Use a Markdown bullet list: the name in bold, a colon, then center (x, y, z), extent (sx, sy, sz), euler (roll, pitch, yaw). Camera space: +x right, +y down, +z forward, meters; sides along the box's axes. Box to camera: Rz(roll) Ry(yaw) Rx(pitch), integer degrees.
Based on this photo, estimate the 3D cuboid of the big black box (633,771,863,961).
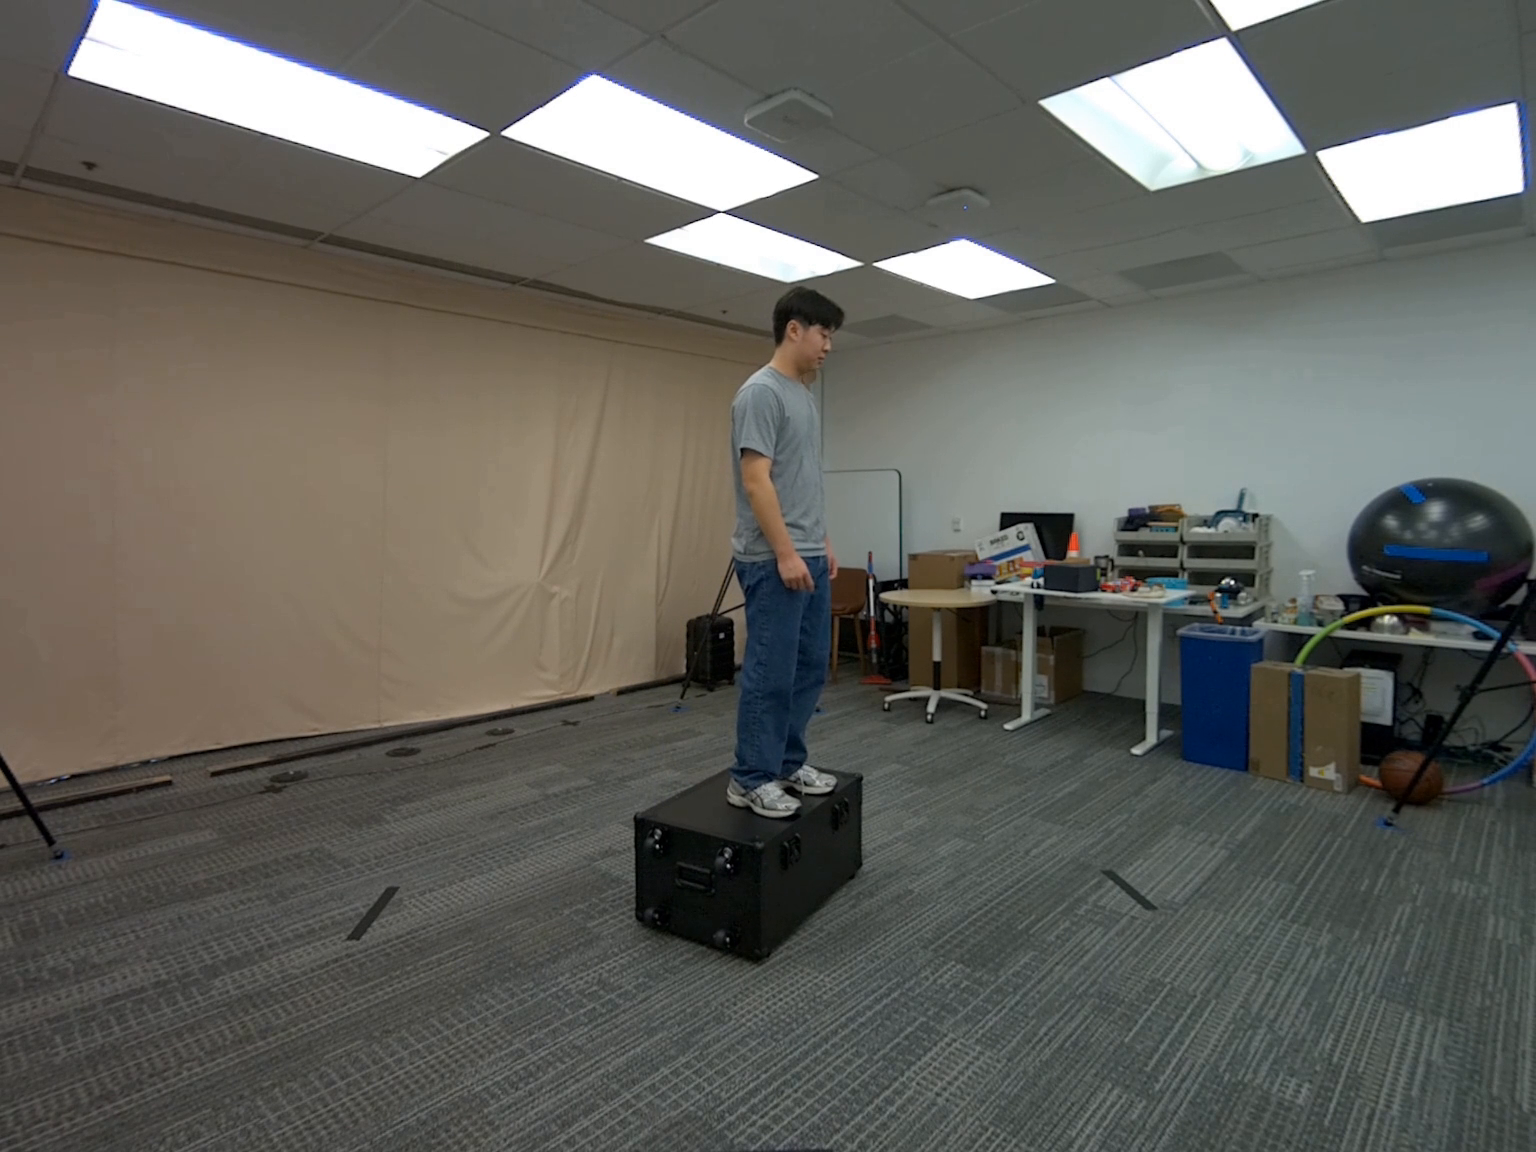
- **big black box**: center (-0.057, 0.956, 2.953), extent (0.536, 0.395, 0.838), euler (3, 5, 30)
